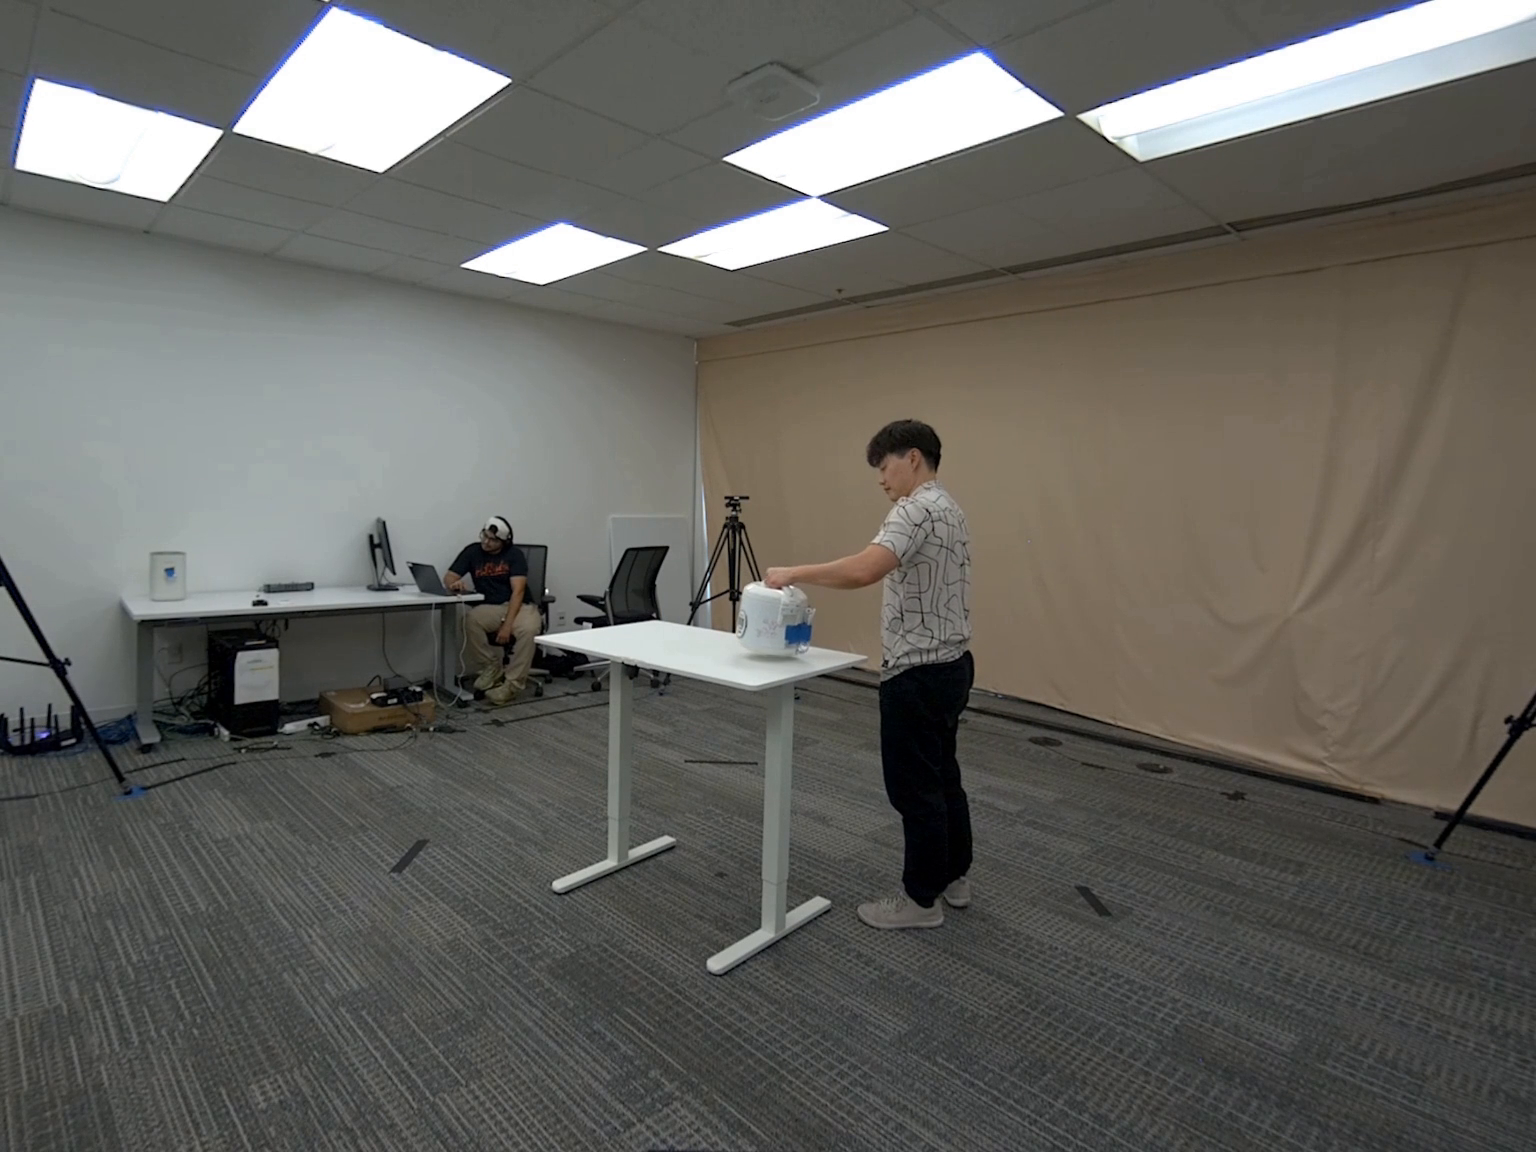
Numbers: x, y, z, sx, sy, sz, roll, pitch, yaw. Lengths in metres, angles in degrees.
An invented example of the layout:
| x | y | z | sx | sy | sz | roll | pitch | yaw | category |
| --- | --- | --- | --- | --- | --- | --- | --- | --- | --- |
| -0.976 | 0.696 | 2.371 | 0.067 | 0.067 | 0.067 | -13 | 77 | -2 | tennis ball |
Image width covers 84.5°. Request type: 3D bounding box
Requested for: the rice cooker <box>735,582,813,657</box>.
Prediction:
| x | y | z | sx | sy | sz | roll | pitch | yaw | category |
| --- | --- | --- | --- | --- | --- | --- | --- | --- | --- |
| 0.010 | 0.122 | 2.689 | 0.213 | 0.232 | 0.226 | 6 | 6 | -29 | rice cooker |
